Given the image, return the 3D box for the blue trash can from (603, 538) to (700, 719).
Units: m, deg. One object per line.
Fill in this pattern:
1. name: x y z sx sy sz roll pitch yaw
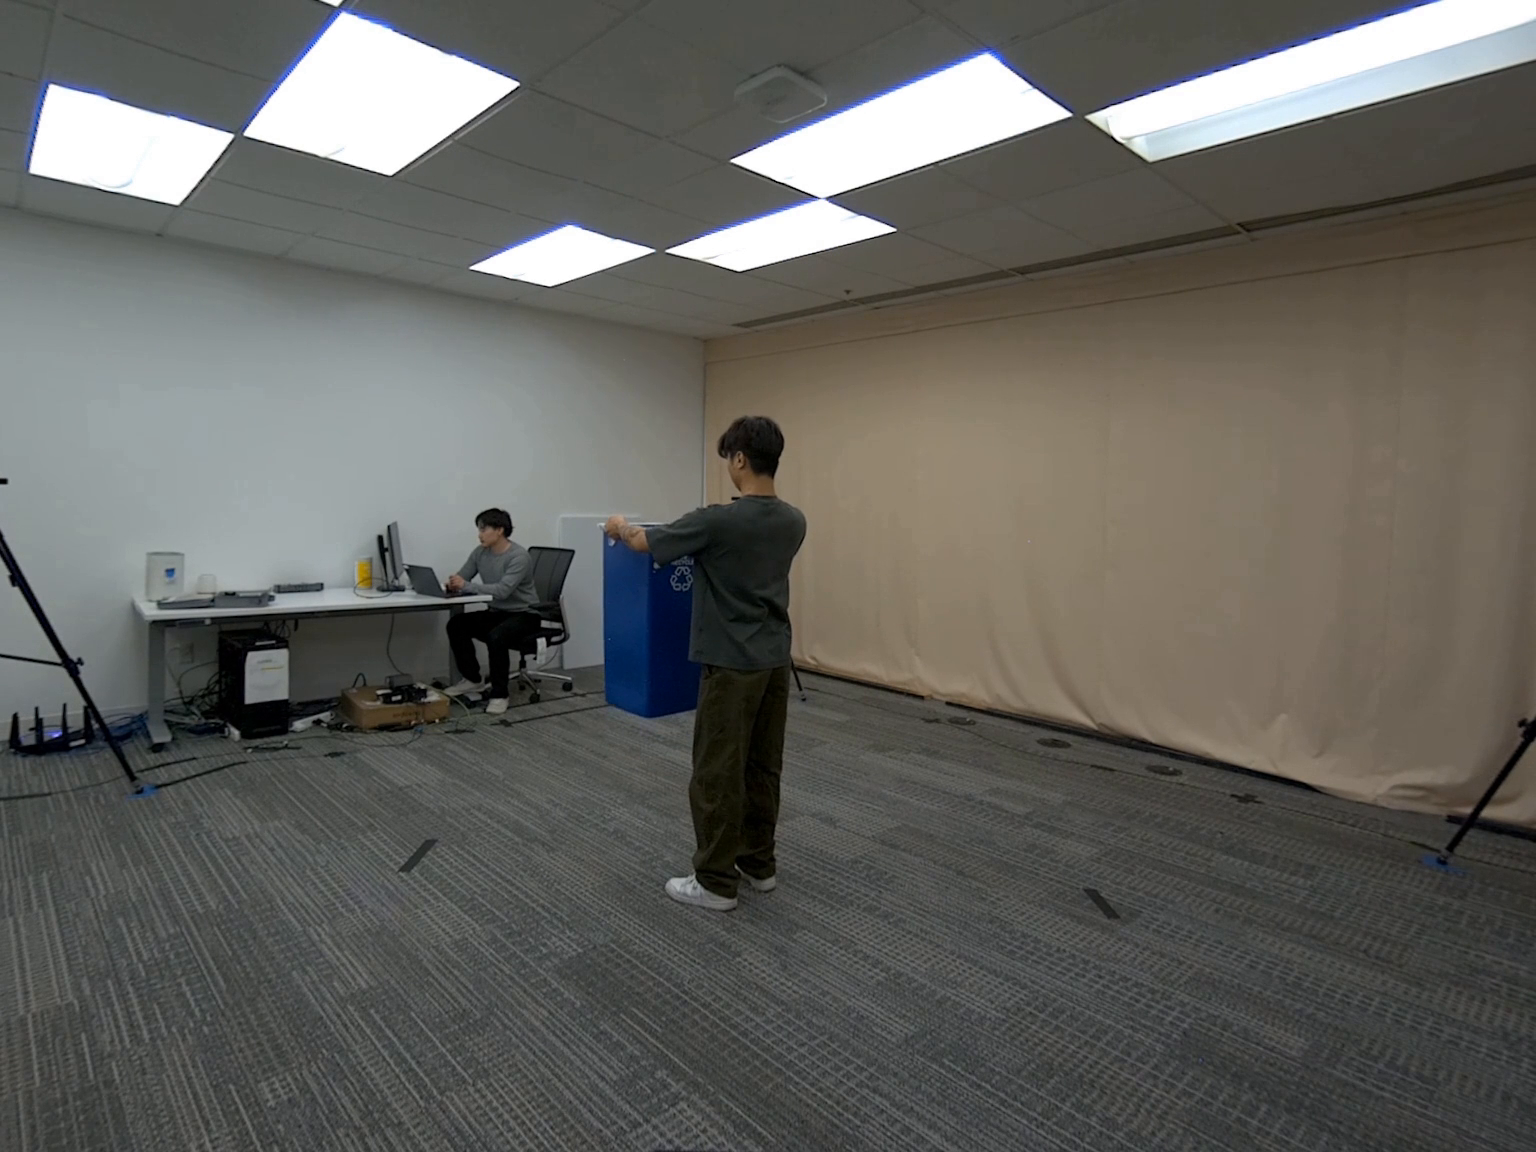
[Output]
1. blue trash can: -0.449 0.162 3.322 0.369 0.711 0.384 -2 7 -44
